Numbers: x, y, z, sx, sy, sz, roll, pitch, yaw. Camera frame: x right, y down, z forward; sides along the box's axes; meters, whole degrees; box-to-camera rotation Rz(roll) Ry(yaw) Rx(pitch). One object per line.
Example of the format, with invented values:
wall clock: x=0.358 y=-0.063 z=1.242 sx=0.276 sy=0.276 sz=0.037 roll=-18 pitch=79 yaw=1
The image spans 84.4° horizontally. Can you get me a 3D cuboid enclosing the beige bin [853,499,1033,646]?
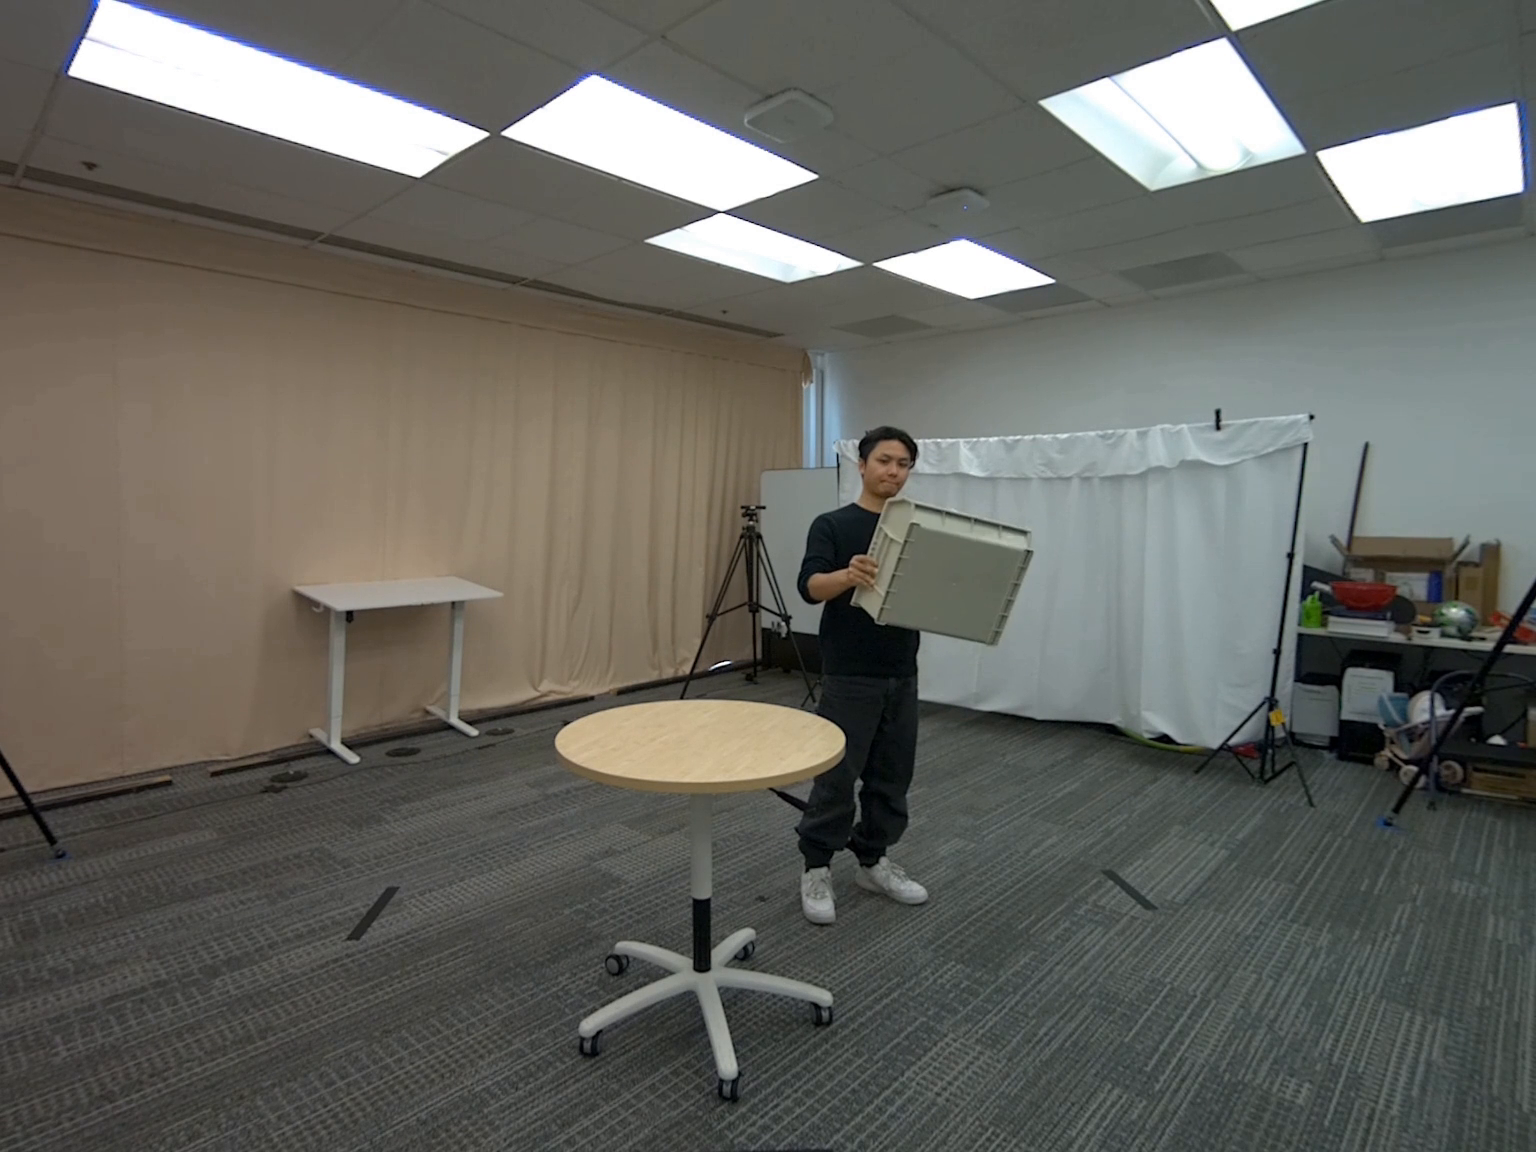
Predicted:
beige bin: x=0.521 y=-0.014 z=2.511 sx=0.414 sy=0.376 sz=0.193 roll=12 pitch=15 yaw=-17
